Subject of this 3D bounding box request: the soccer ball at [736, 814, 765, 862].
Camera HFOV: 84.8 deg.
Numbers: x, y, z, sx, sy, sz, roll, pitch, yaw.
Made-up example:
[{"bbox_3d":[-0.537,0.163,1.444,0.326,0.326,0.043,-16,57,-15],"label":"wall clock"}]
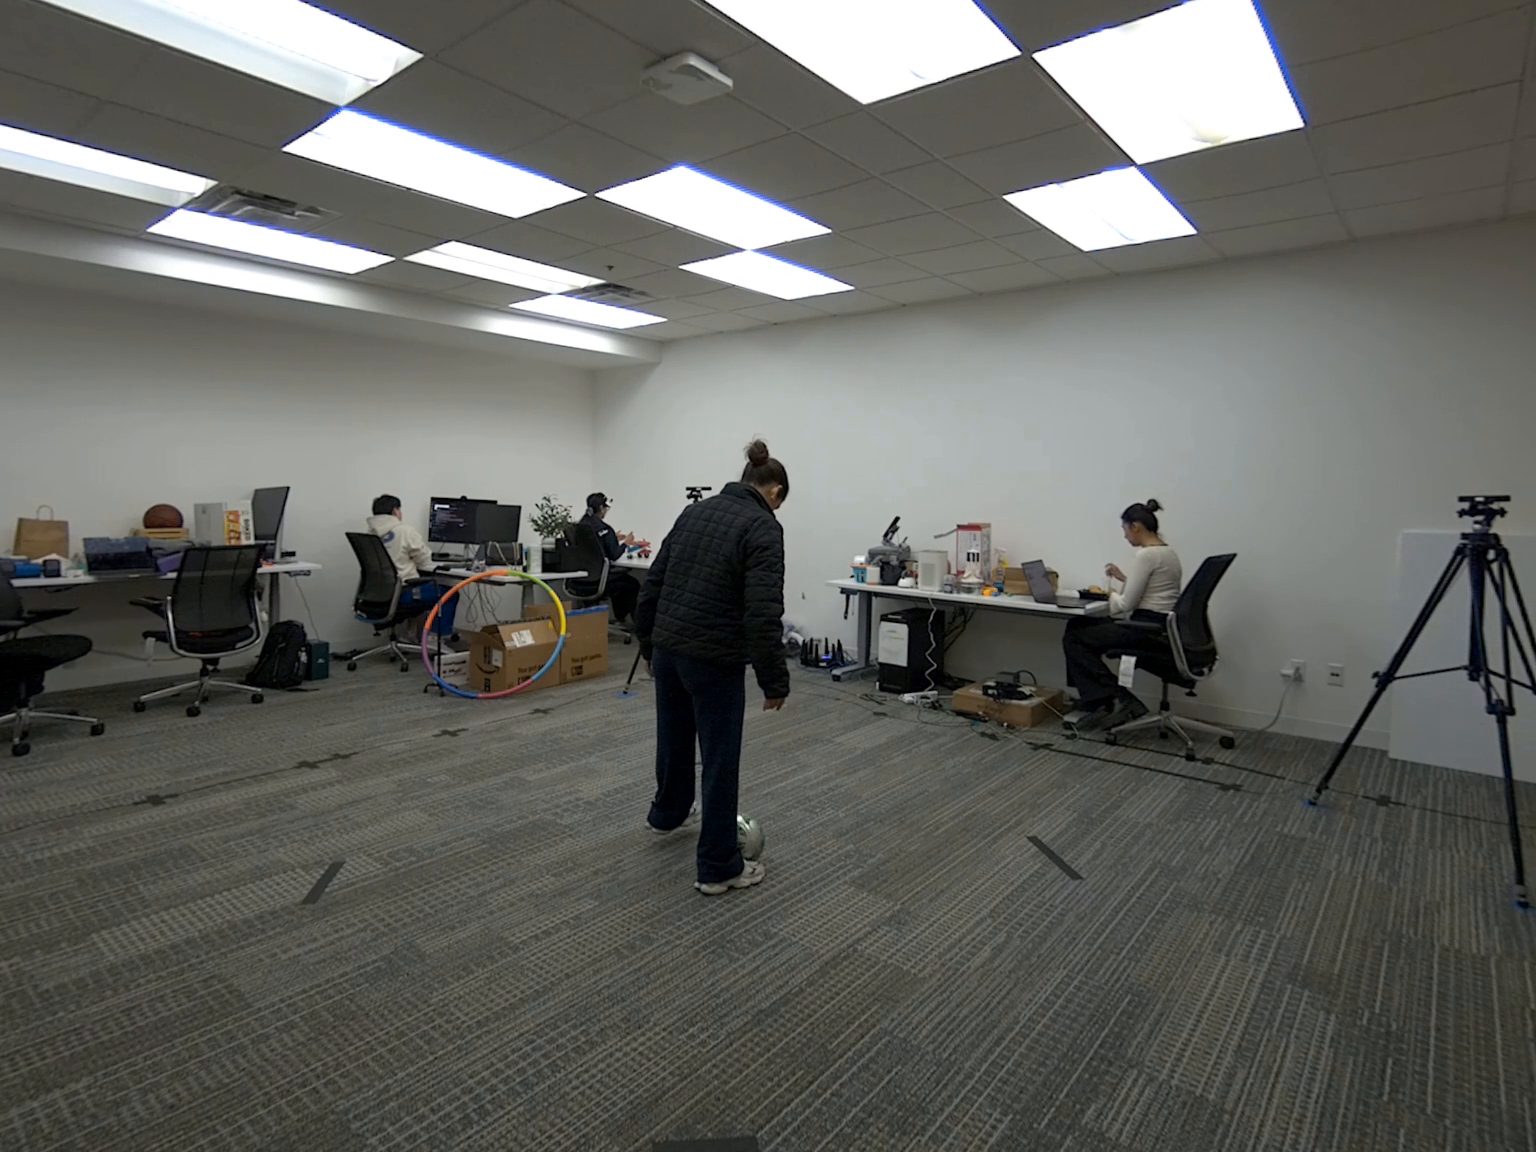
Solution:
[{"bbox_3d":[-0.114,0.965,3.149,0.187,0.187,0.188,1,4,-2],"label":"soccer ball"}]
